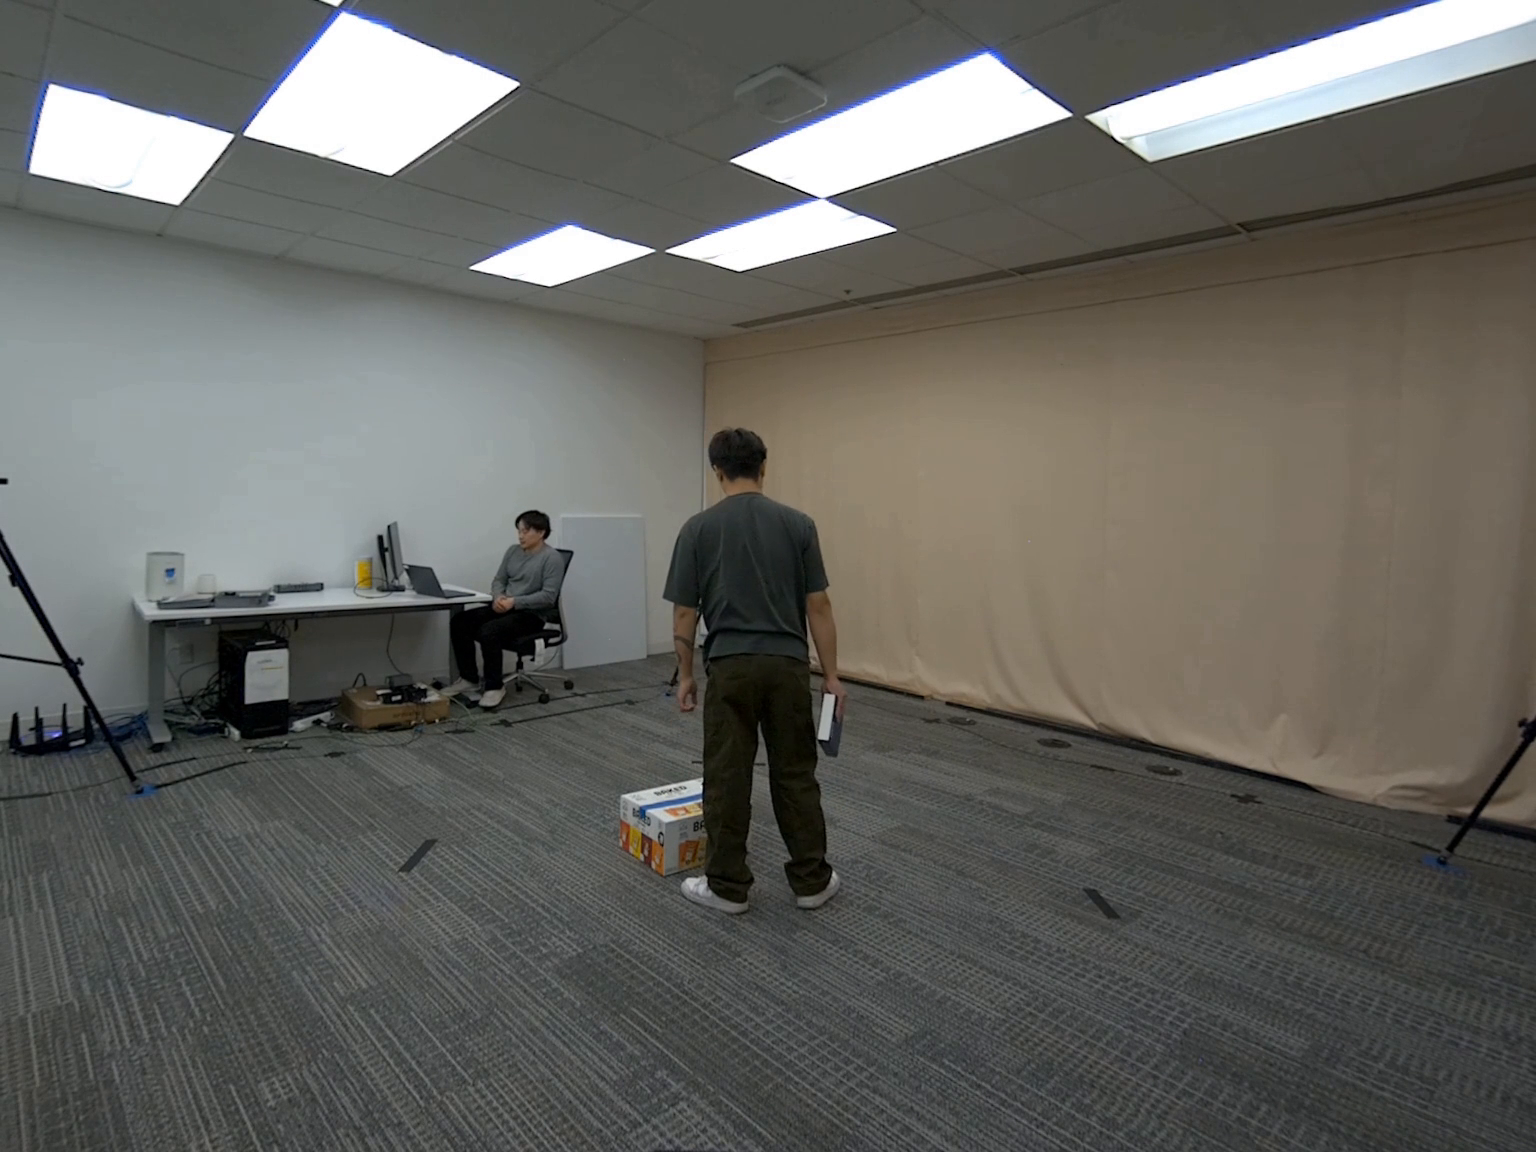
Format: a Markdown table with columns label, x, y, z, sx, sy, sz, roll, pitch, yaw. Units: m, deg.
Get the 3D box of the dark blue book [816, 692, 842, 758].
| label | x | y | z | sx | sy | sz | roll | pitch | yaw |
| --- | --- | --- | --- | --- | --- | --- | --- | --- | --- |
| dark blue book | 0.209 | 0.511 | 2.892 | 0.046 | 0.165 | 0.239 | 4 | -23 | 12 |
